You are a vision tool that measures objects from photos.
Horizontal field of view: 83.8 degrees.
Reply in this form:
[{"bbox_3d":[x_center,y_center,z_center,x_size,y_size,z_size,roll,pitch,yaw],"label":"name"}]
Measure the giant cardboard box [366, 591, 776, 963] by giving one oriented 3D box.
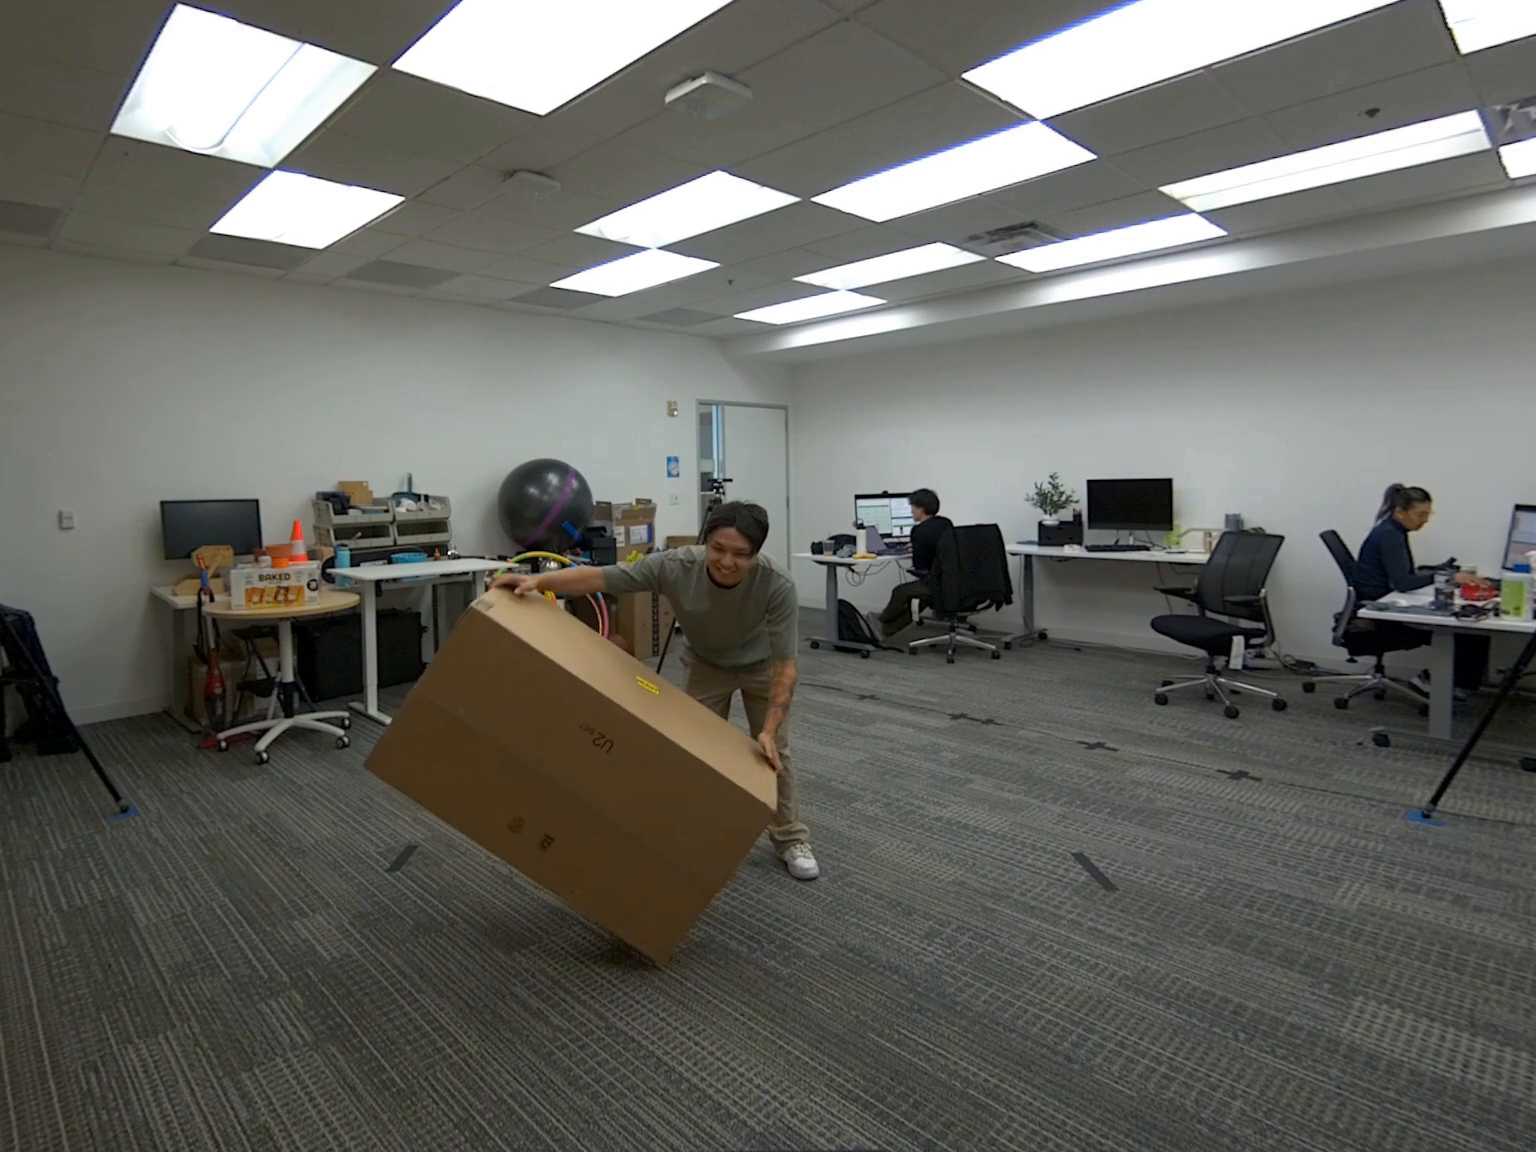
[{"bbox_3d":[-0.550,0.571,2.577,1.022,0.576,0.428,34,9,-3],"label":"giant cardboard box"}]
